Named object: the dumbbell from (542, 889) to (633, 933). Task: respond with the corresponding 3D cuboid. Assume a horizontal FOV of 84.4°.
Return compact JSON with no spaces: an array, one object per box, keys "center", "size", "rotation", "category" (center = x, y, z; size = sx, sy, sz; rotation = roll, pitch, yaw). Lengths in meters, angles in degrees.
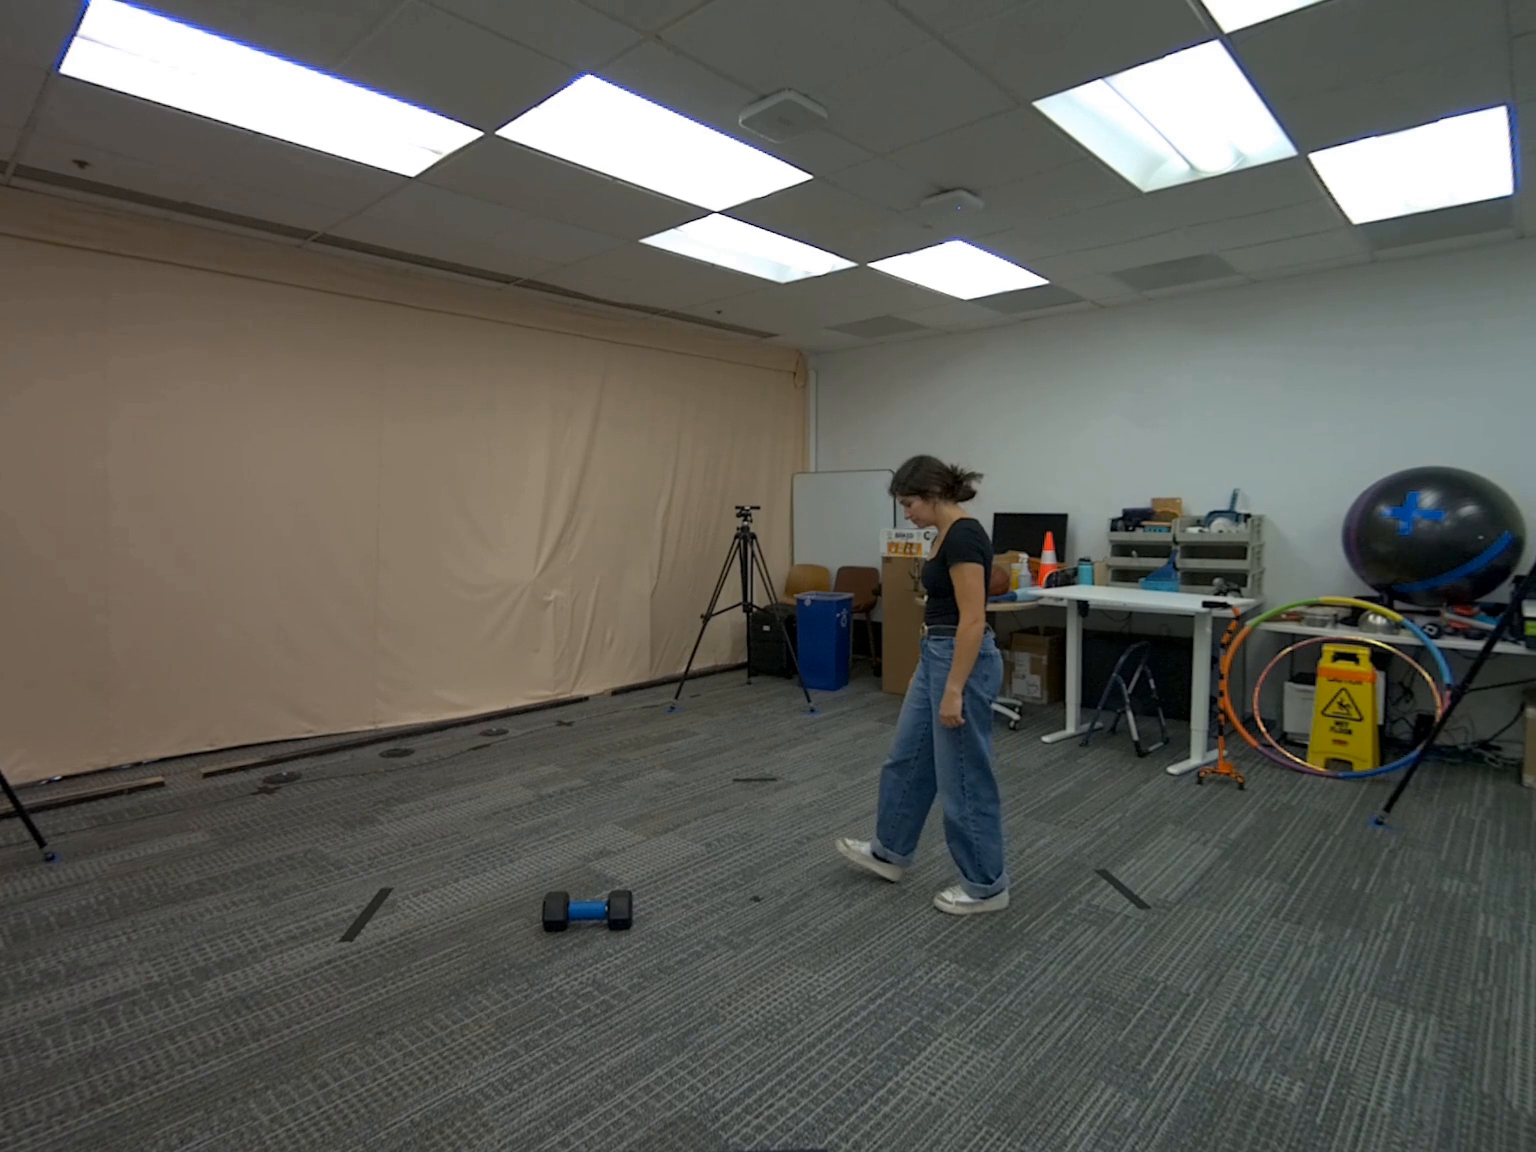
[{"center":[-0.598,1.118,2.793],"size":[0.293,0.125,0.107],"rotation":[-1,-28,-2],"category":"dumbbell"}]
